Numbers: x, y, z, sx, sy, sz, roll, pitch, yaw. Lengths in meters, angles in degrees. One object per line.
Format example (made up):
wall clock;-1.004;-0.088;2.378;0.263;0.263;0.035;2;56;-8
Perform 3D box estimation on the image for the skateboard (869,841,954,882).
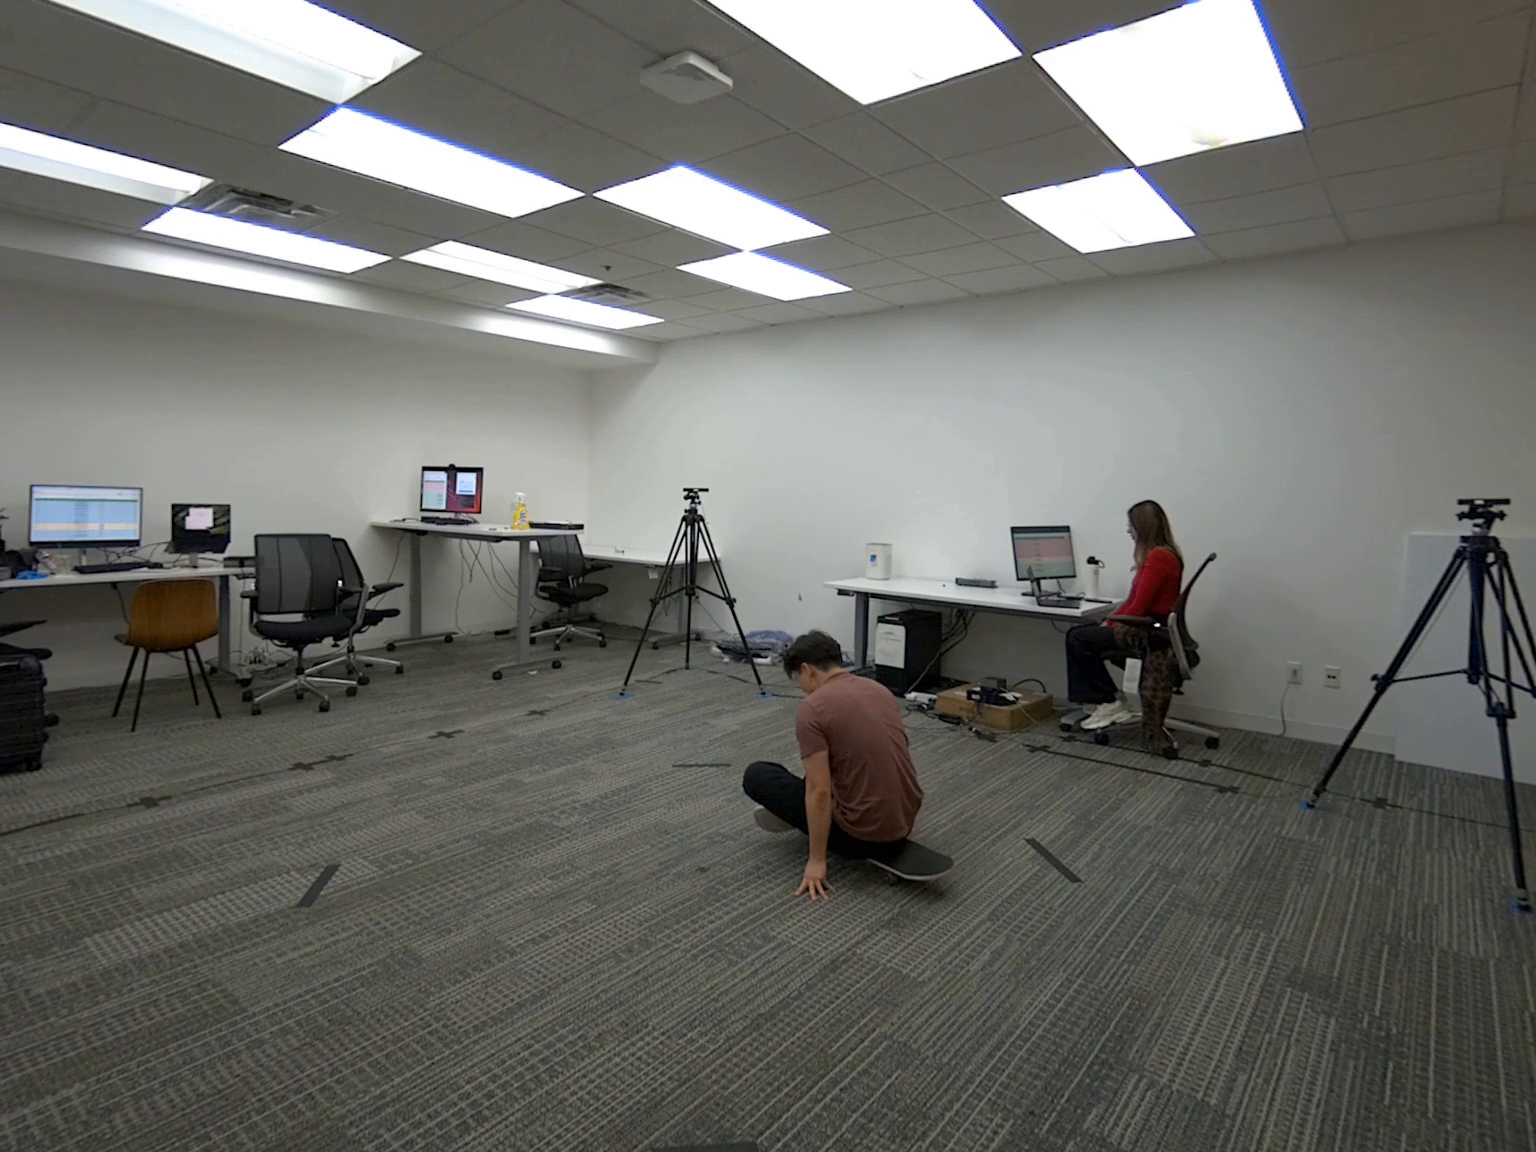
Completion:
skateboard;0.365;1.019;3.234;0.189;0.109;0.813;-15;16;-35
